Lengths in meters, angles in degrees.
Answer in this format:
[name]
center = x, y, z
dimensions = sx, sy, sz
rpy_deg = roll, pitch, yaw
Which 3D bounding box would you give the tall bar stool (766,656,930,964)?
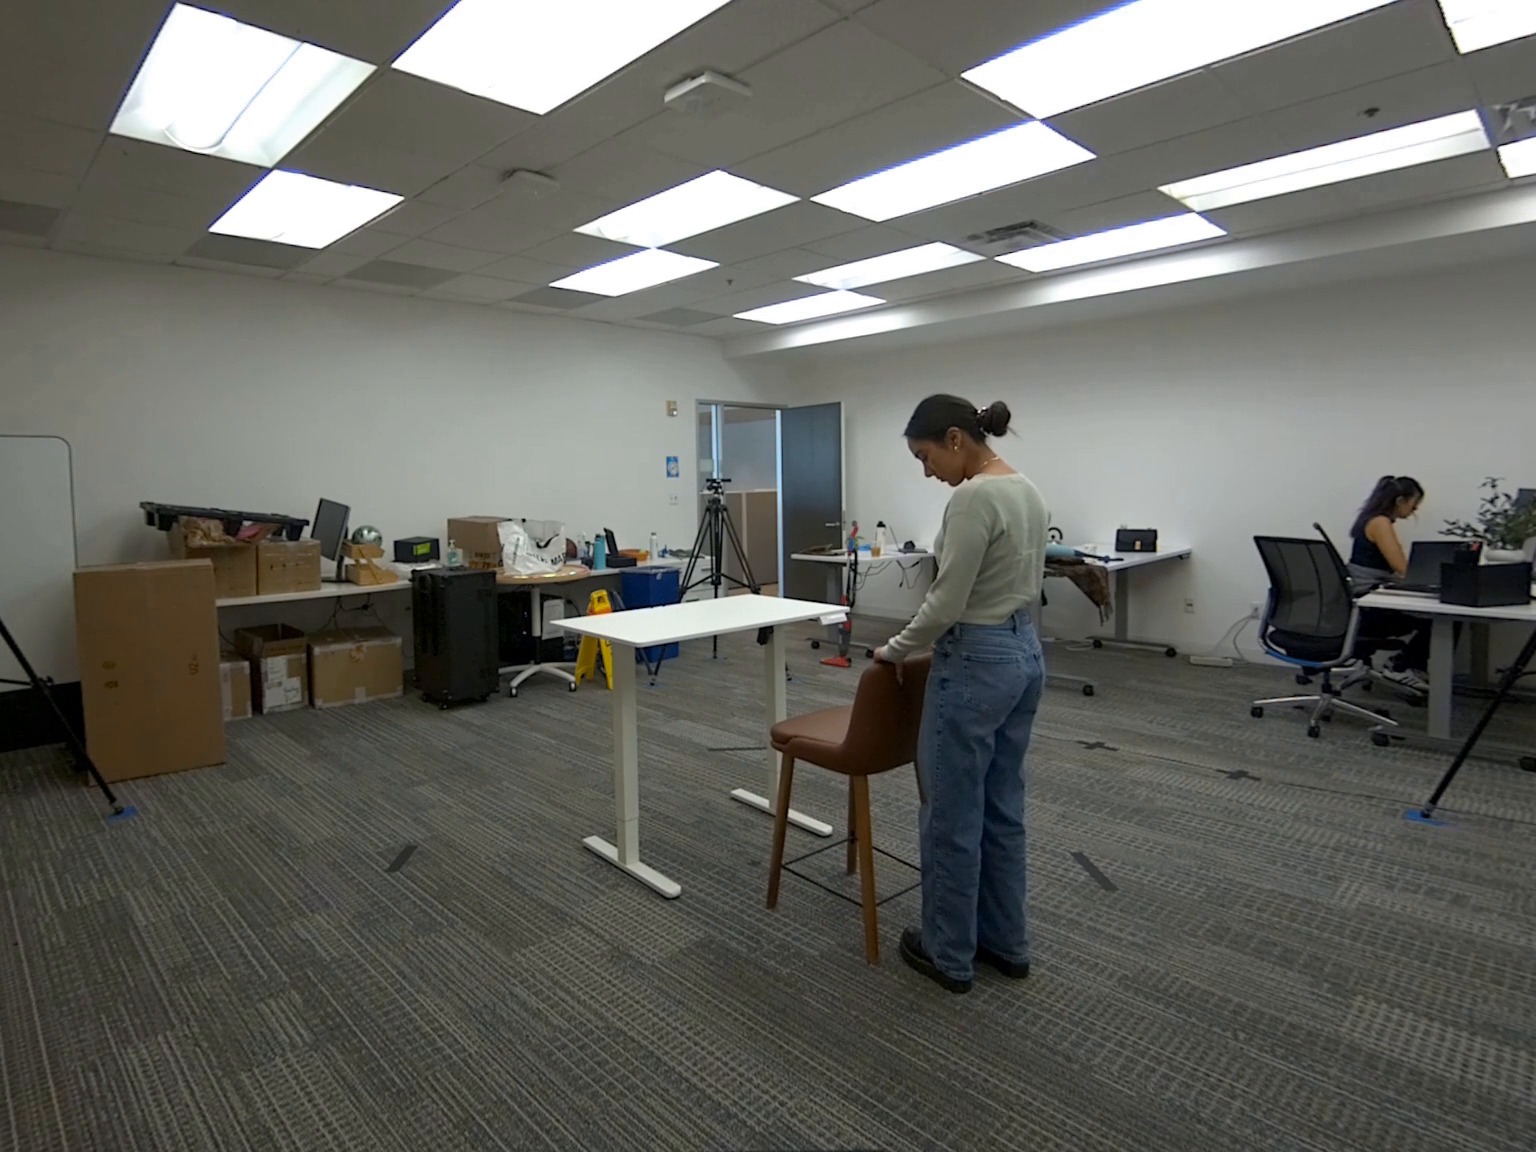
[tall bar stool]
center = 0.296, 0.642, 2.695
dimensions = 0.444, 0.885, 0.482
rpy_deg = -4, 8, -39
